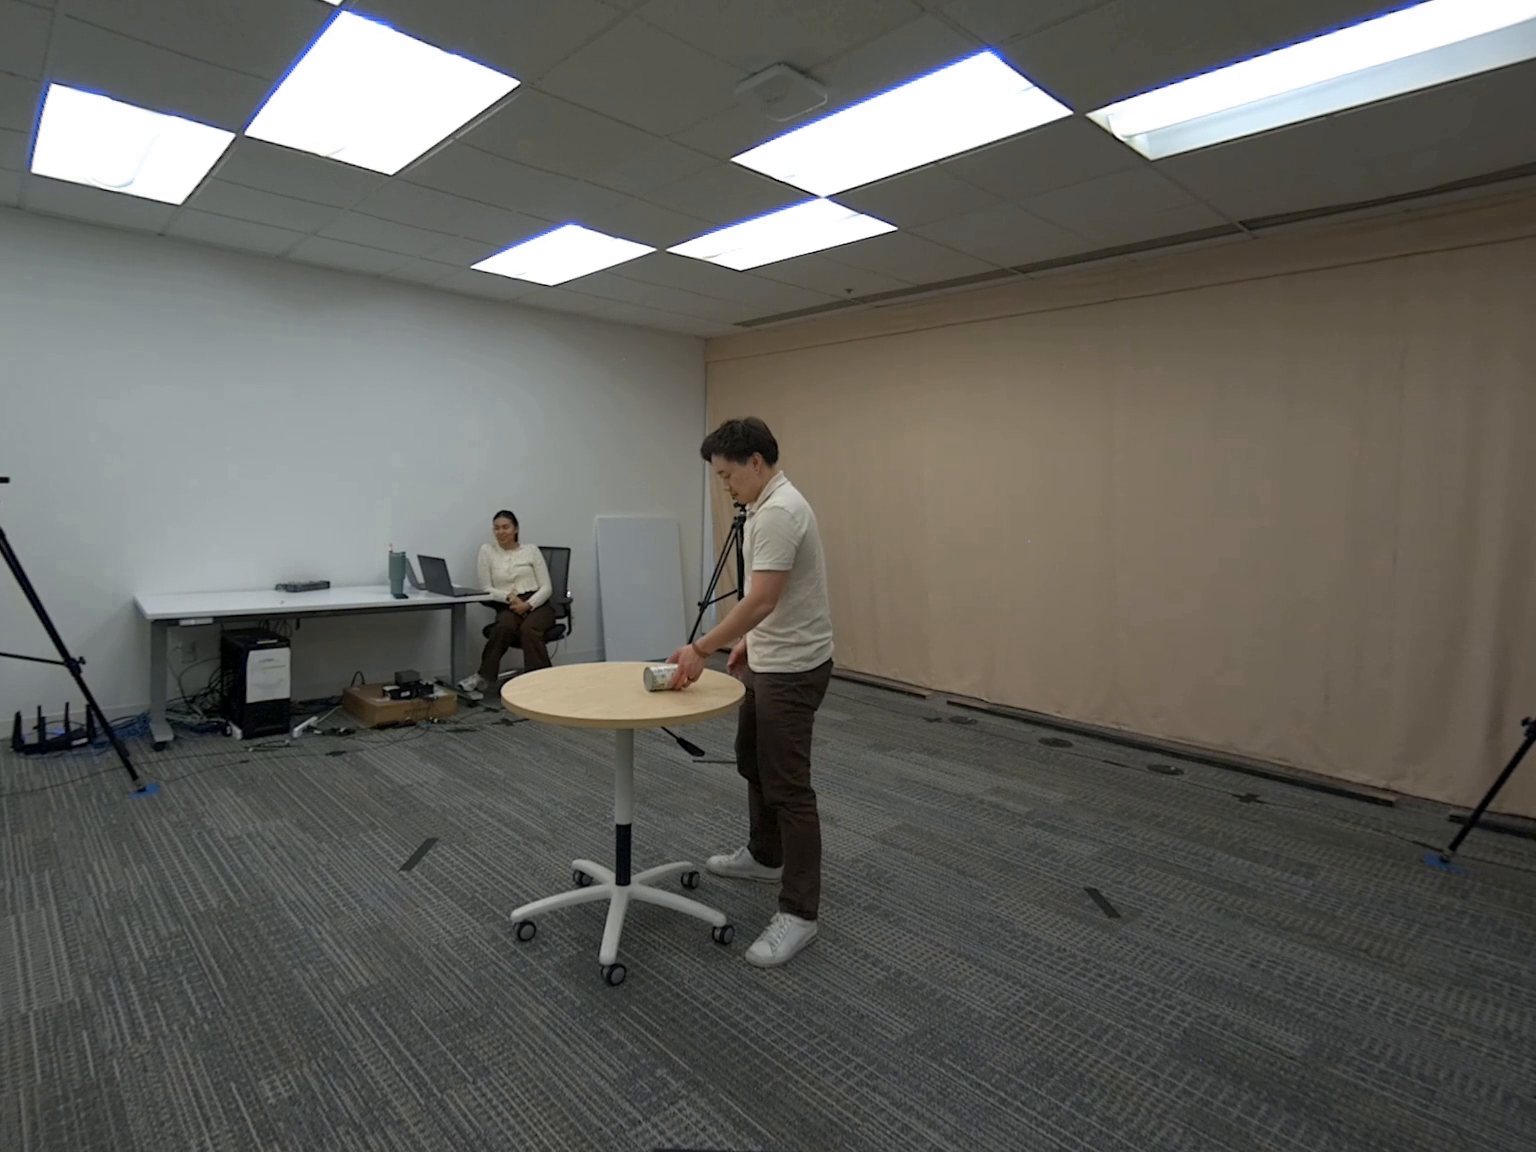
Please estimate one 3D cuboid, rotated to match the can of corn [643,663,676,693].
[{"bbox_3d":[-0.332,0.318,2.650,0.109,0.074,0.075,0,4,-21],"label":"can of corn"}]
